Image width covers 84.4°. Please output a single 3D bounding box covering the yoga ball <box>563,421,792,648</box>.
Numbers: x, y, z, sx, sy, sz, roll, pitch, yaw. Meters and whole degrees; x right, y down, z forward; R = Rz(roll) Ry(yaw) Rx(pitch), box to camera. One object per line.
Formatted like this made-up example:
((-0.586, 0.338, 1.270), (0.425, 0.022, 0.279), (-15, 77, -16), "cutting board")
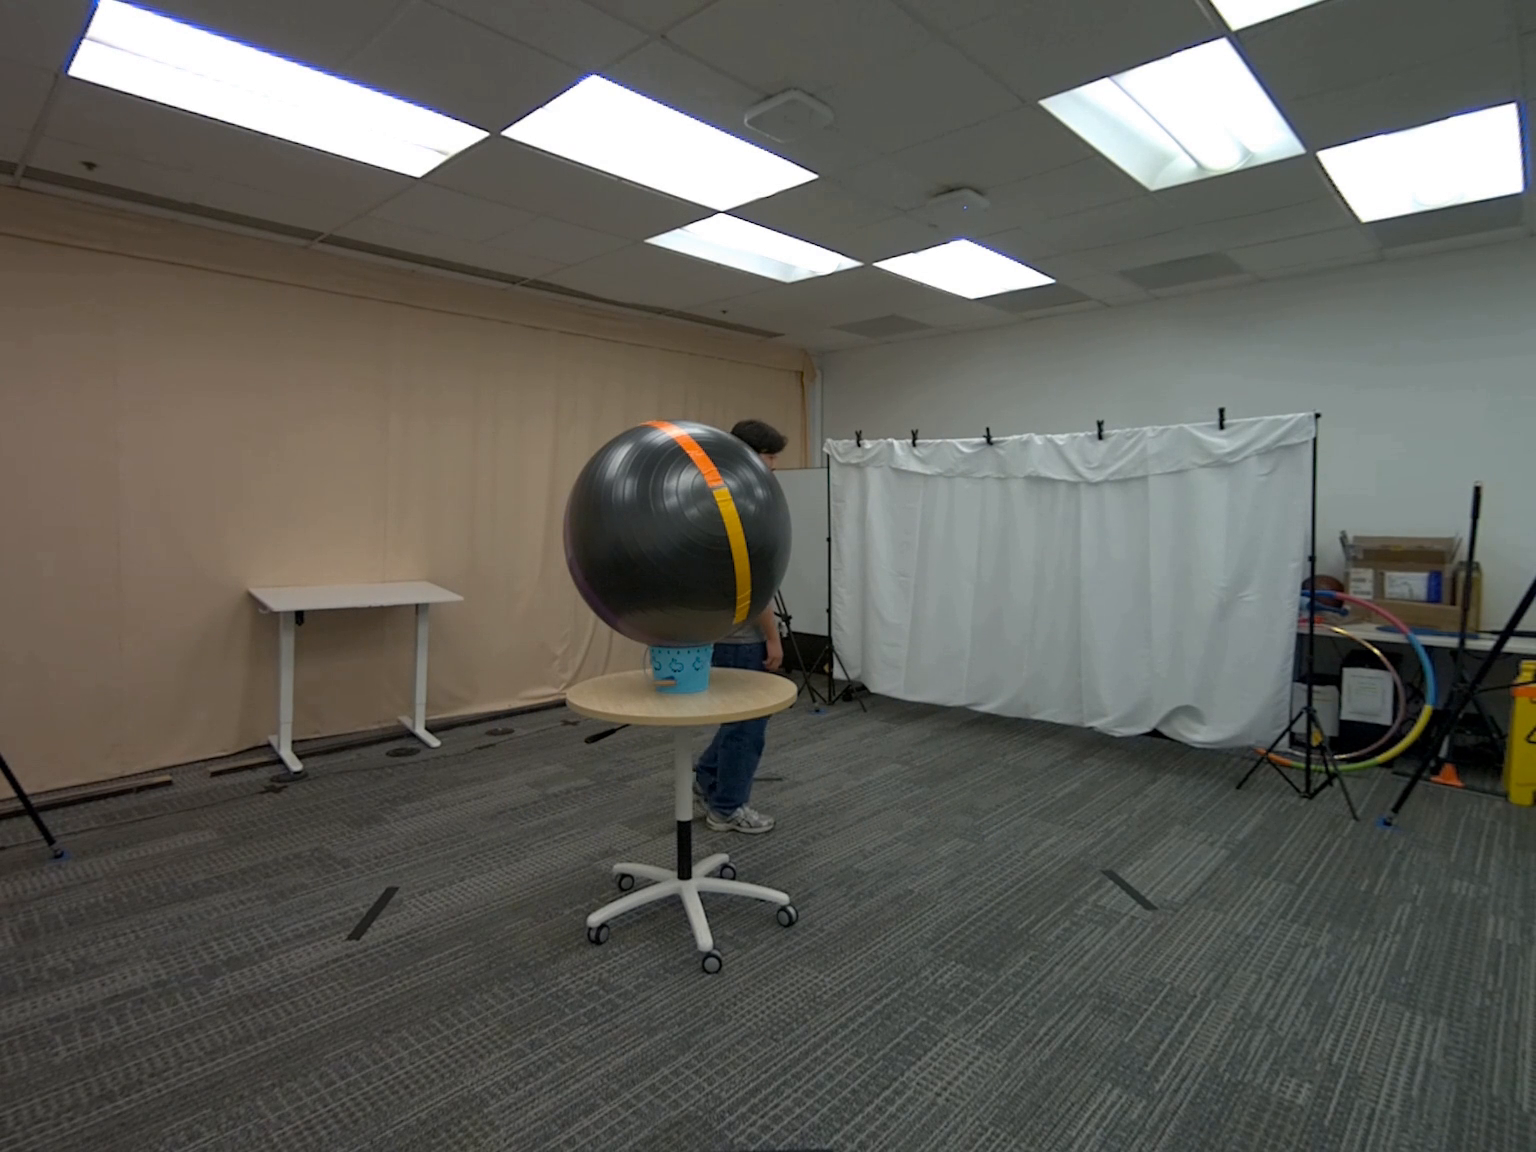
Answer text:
((-0.304, -0.135, 2.806), (0.757, 0.756, 0.760), (0, 4, -2), "yoga ball")
